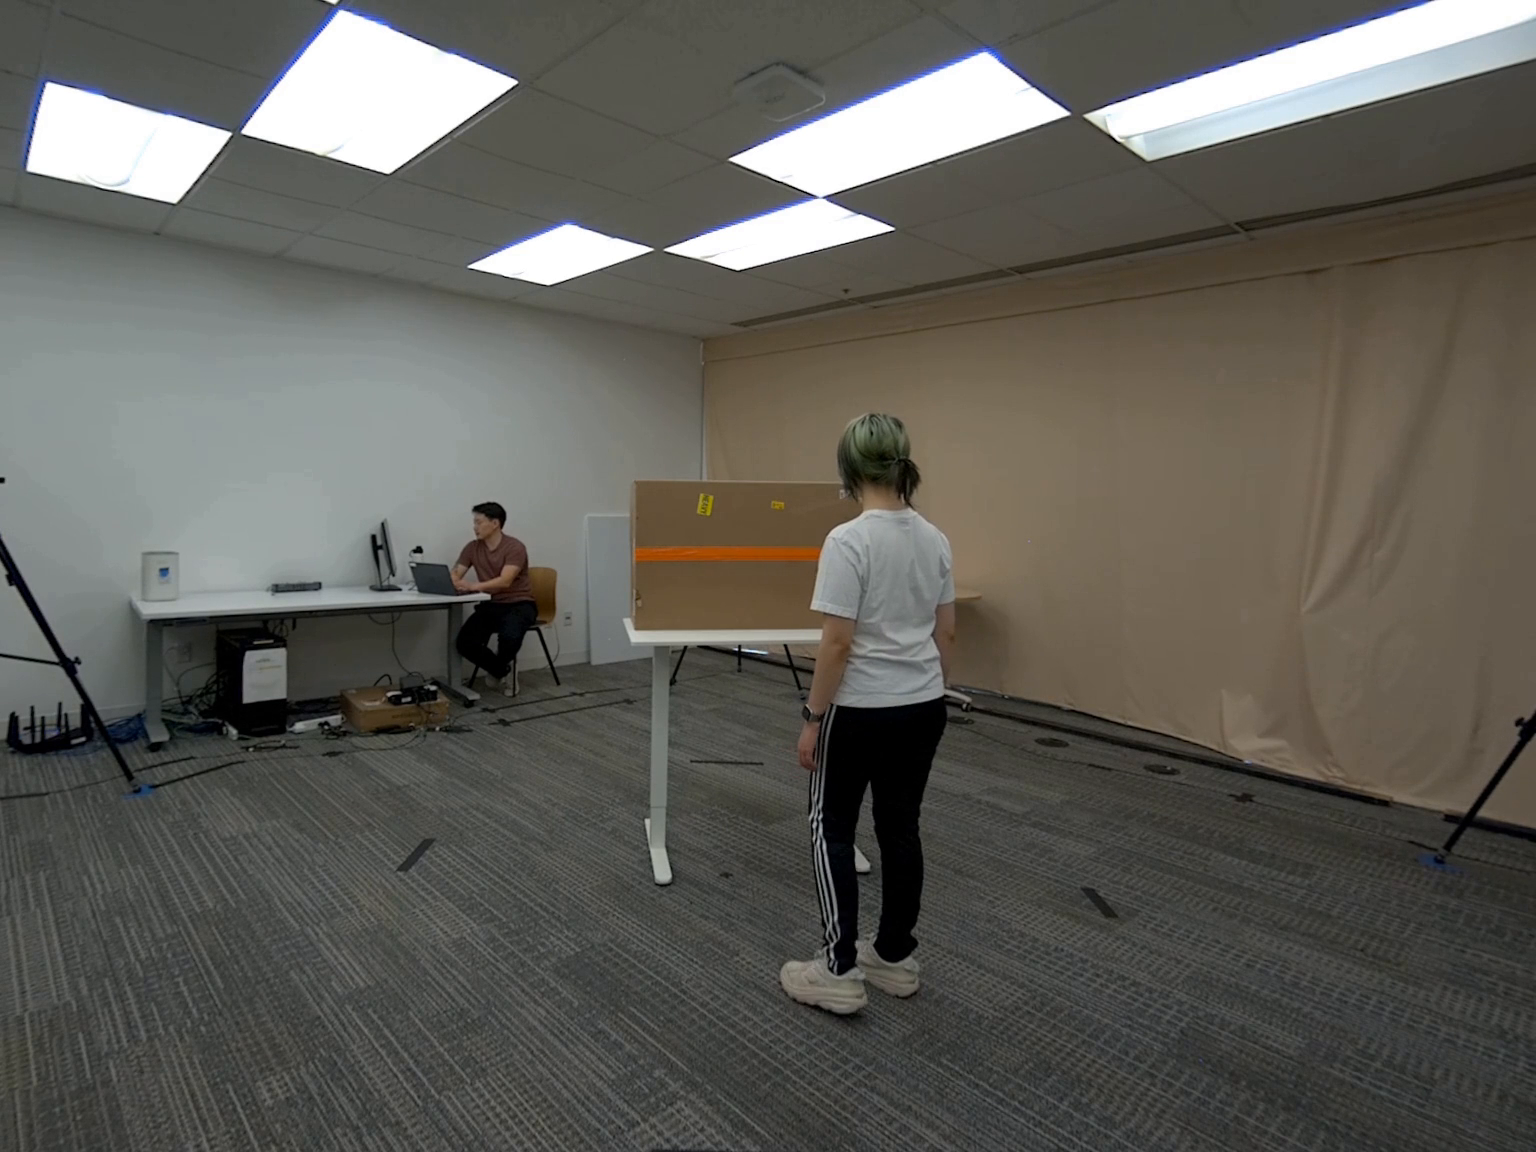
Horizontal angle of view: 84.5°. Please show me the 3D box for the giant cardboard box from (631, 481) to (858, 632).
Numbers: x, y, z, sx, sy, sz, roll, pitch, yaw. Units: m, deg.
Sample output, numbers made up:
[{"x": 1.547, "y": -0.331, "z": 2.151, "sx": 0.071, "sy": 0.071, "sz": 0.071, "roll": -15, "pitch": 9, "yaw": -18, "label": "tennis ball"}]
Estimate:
[{"x": -0.060, "y": -0.093, "z": 3.463, "sx": 1.019, "sy": 0.583, "sz": 0.451, "roll": 0, "pitch": 3, "yaw": -10, "label": "giant cardboard box"}]
